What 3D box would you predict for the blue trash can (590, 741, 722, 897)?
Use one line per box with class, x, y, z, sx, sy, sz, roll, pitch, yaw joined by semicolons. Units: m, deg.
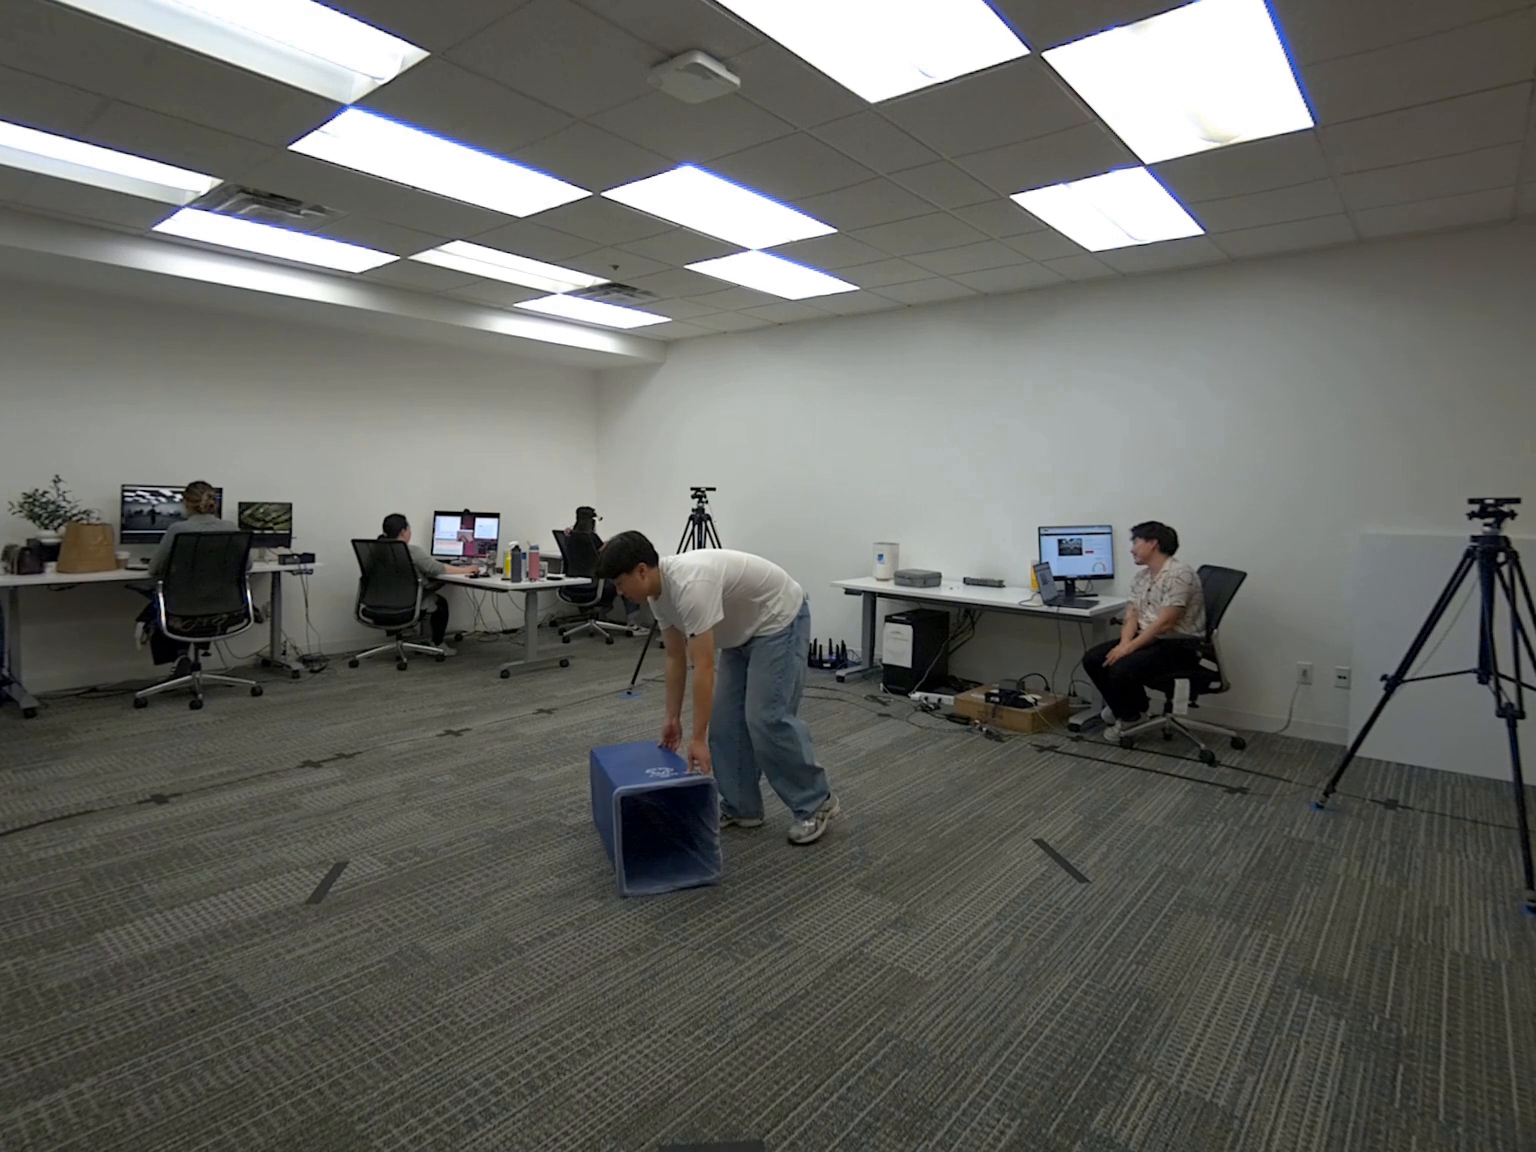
blue trash can;-0.482;0.875;3.247;0.367;0.378;0.729;-3;3;-21
